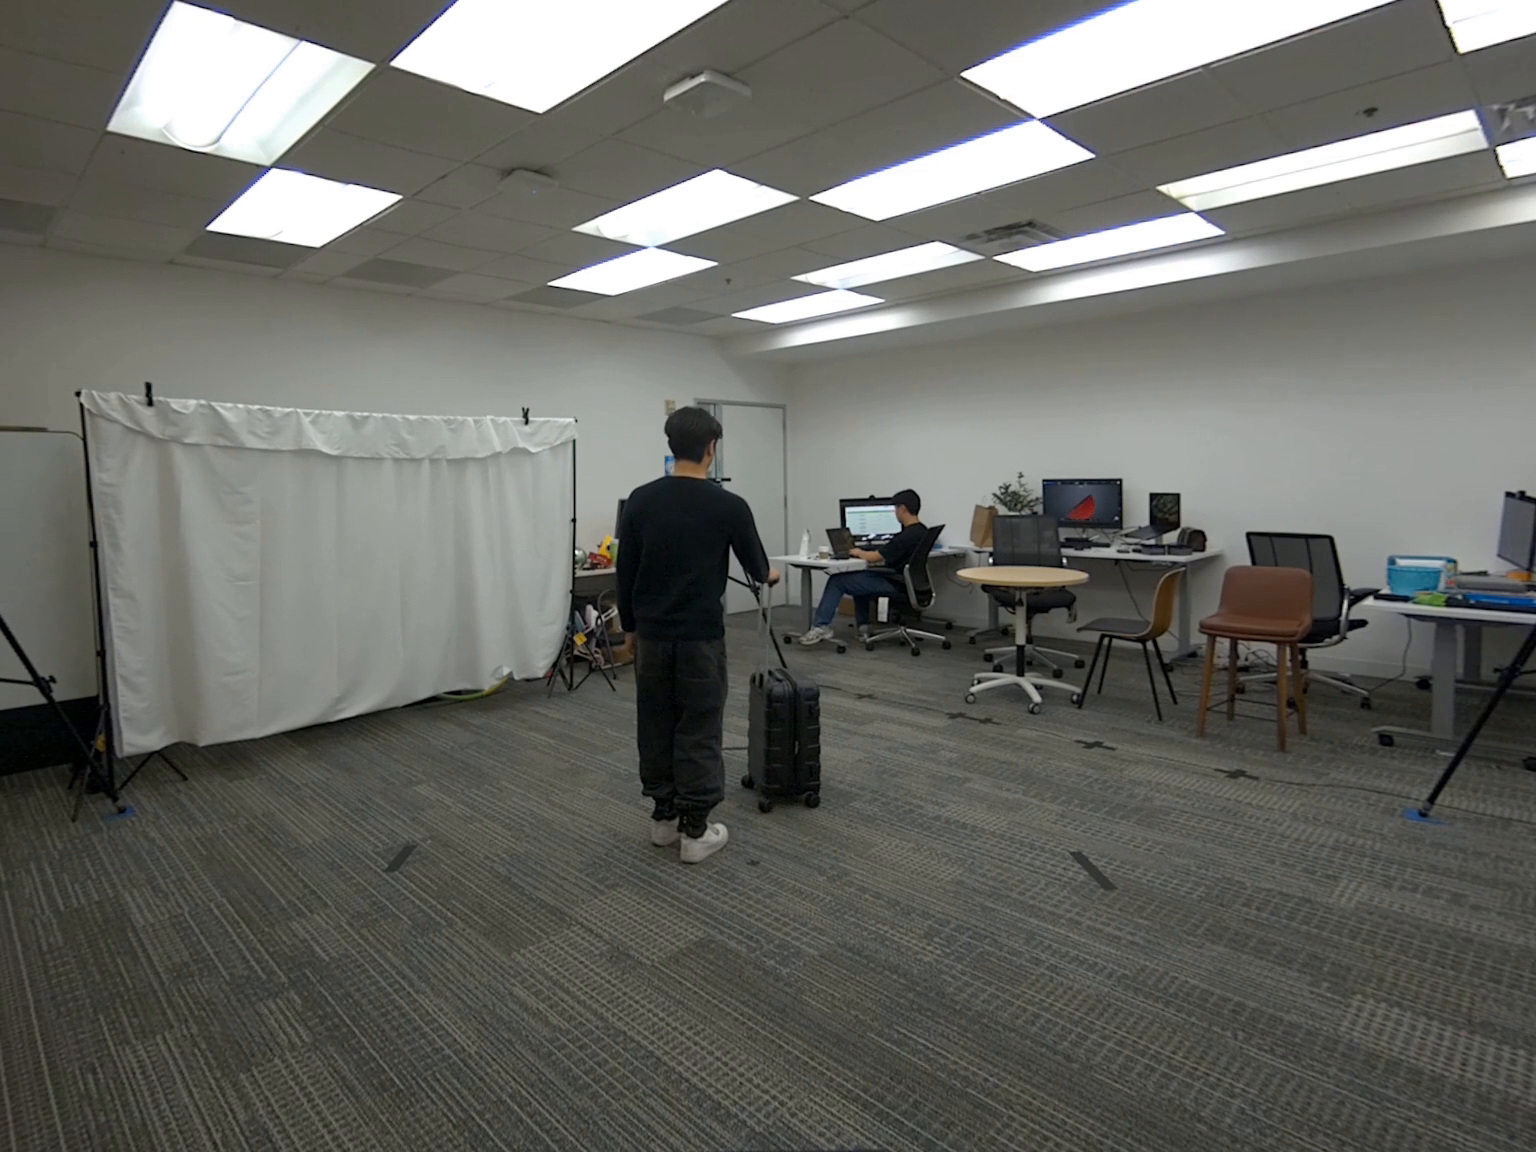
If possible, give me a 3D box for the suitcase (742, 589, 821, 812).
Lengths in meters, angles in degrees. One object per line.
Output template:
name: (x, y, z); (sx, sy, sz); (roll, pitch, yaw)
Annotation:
suitcase: (0.078, 0.493, 3.744); (0.254, 0.976, 0.389); (2, 3, -13)
